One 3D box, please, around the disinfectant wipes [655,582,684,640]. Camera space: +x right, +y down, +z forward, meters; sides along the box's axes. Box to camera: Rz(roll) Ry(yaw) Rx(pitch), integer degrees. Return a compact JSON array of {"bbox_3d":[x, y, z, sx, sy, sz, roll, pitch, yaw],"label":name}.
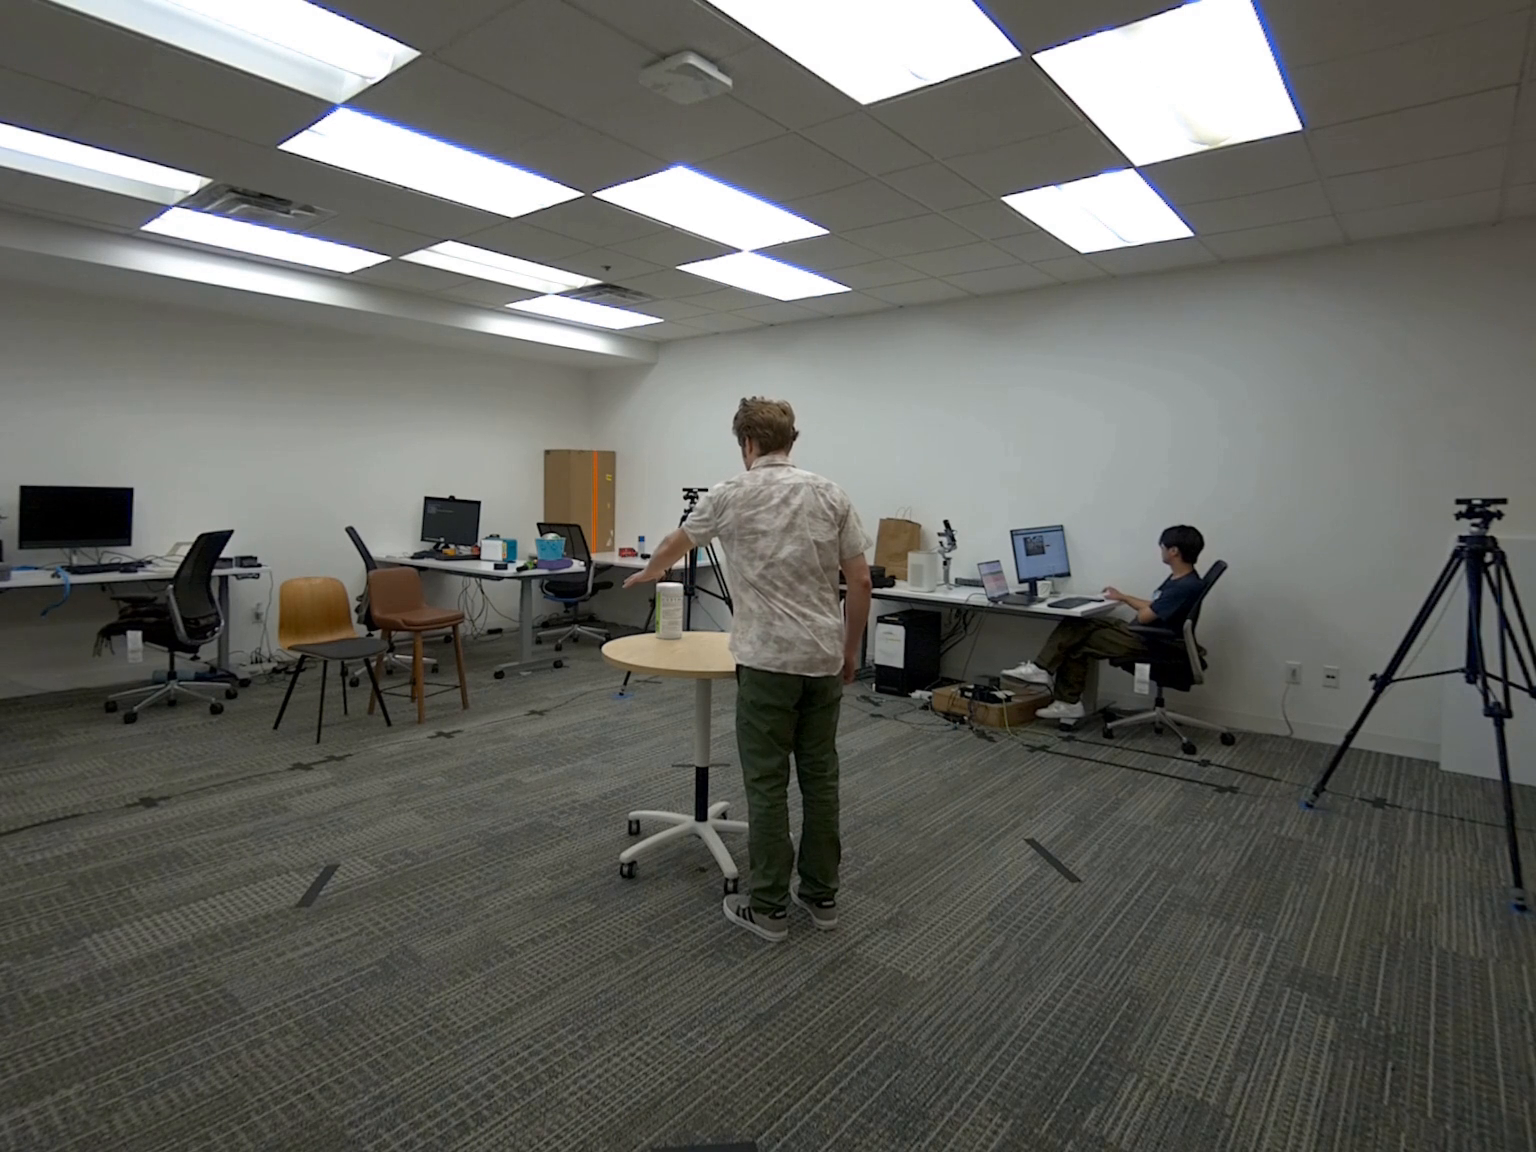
[{"bbox_3d":[-0.404,0.136,3.408,0.118,0.216,0.118,-1,5,-2],"label":"disinfectant wipes"}]
